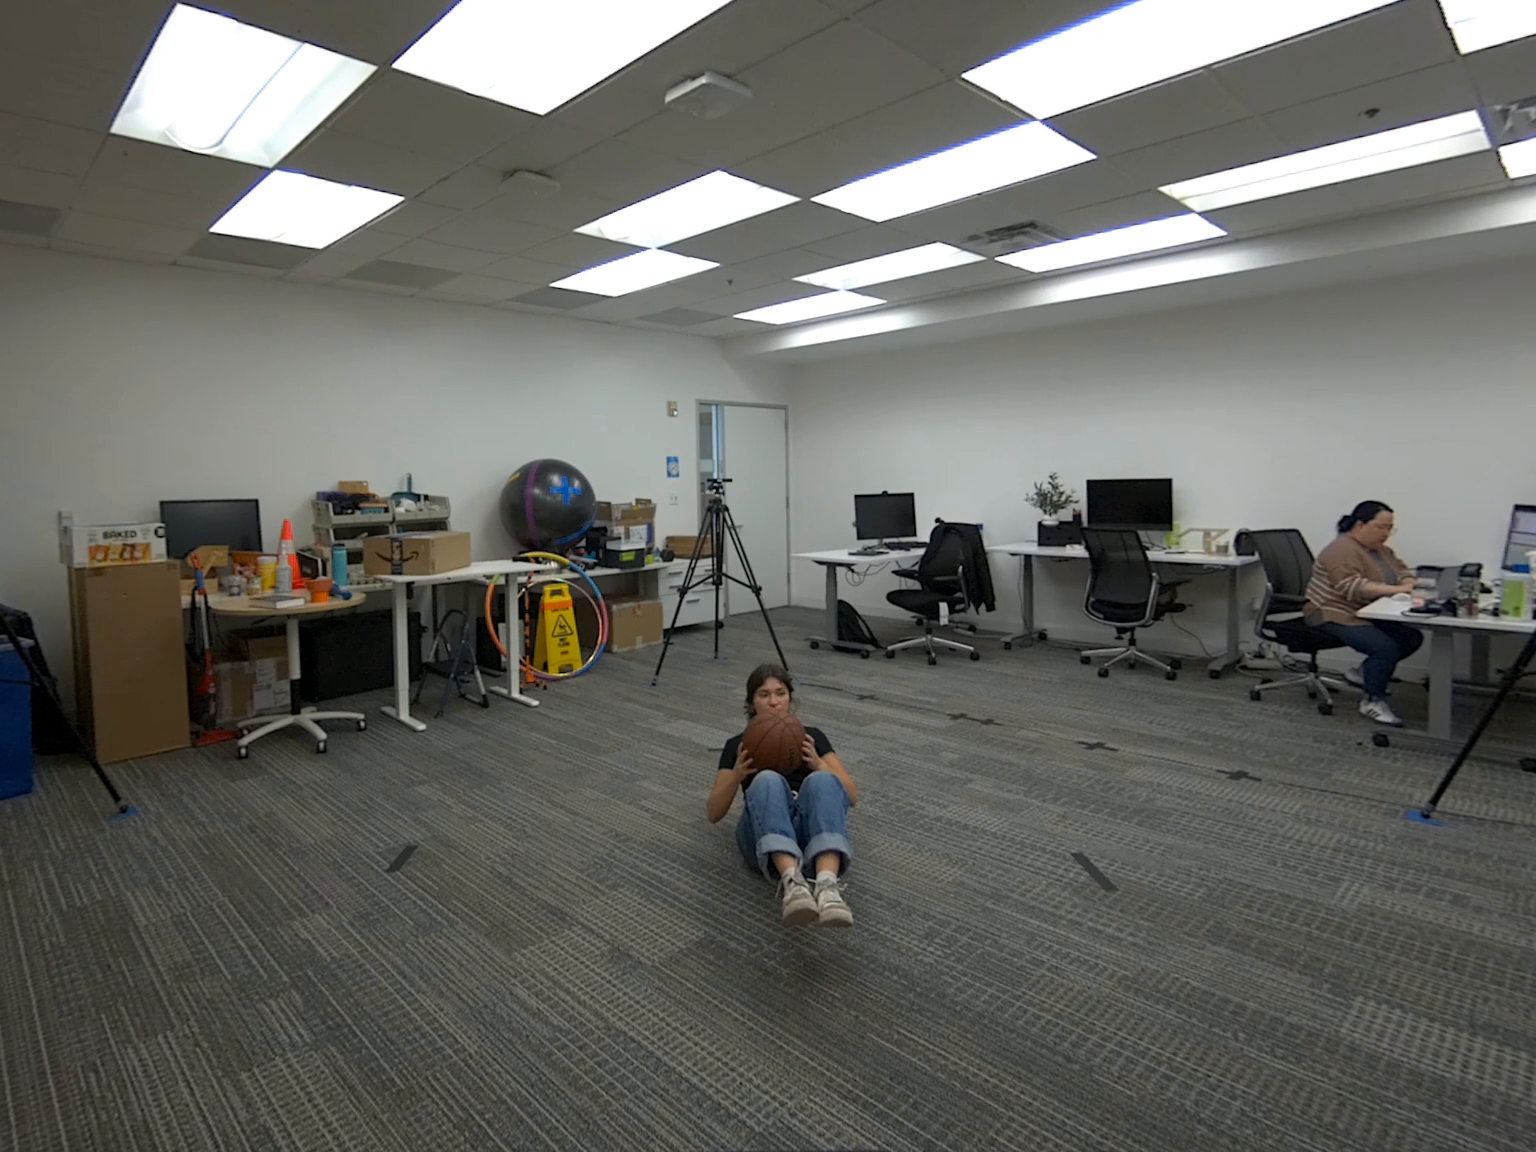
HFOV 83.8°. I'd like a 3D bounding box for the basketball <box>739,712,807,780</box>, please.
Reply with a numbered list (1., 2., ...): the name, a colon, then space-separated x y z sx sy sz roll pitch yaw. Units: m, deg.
1. basketball: 0.014 0.620 3.113 0.236 0.235 0.237 -1 5 -2
